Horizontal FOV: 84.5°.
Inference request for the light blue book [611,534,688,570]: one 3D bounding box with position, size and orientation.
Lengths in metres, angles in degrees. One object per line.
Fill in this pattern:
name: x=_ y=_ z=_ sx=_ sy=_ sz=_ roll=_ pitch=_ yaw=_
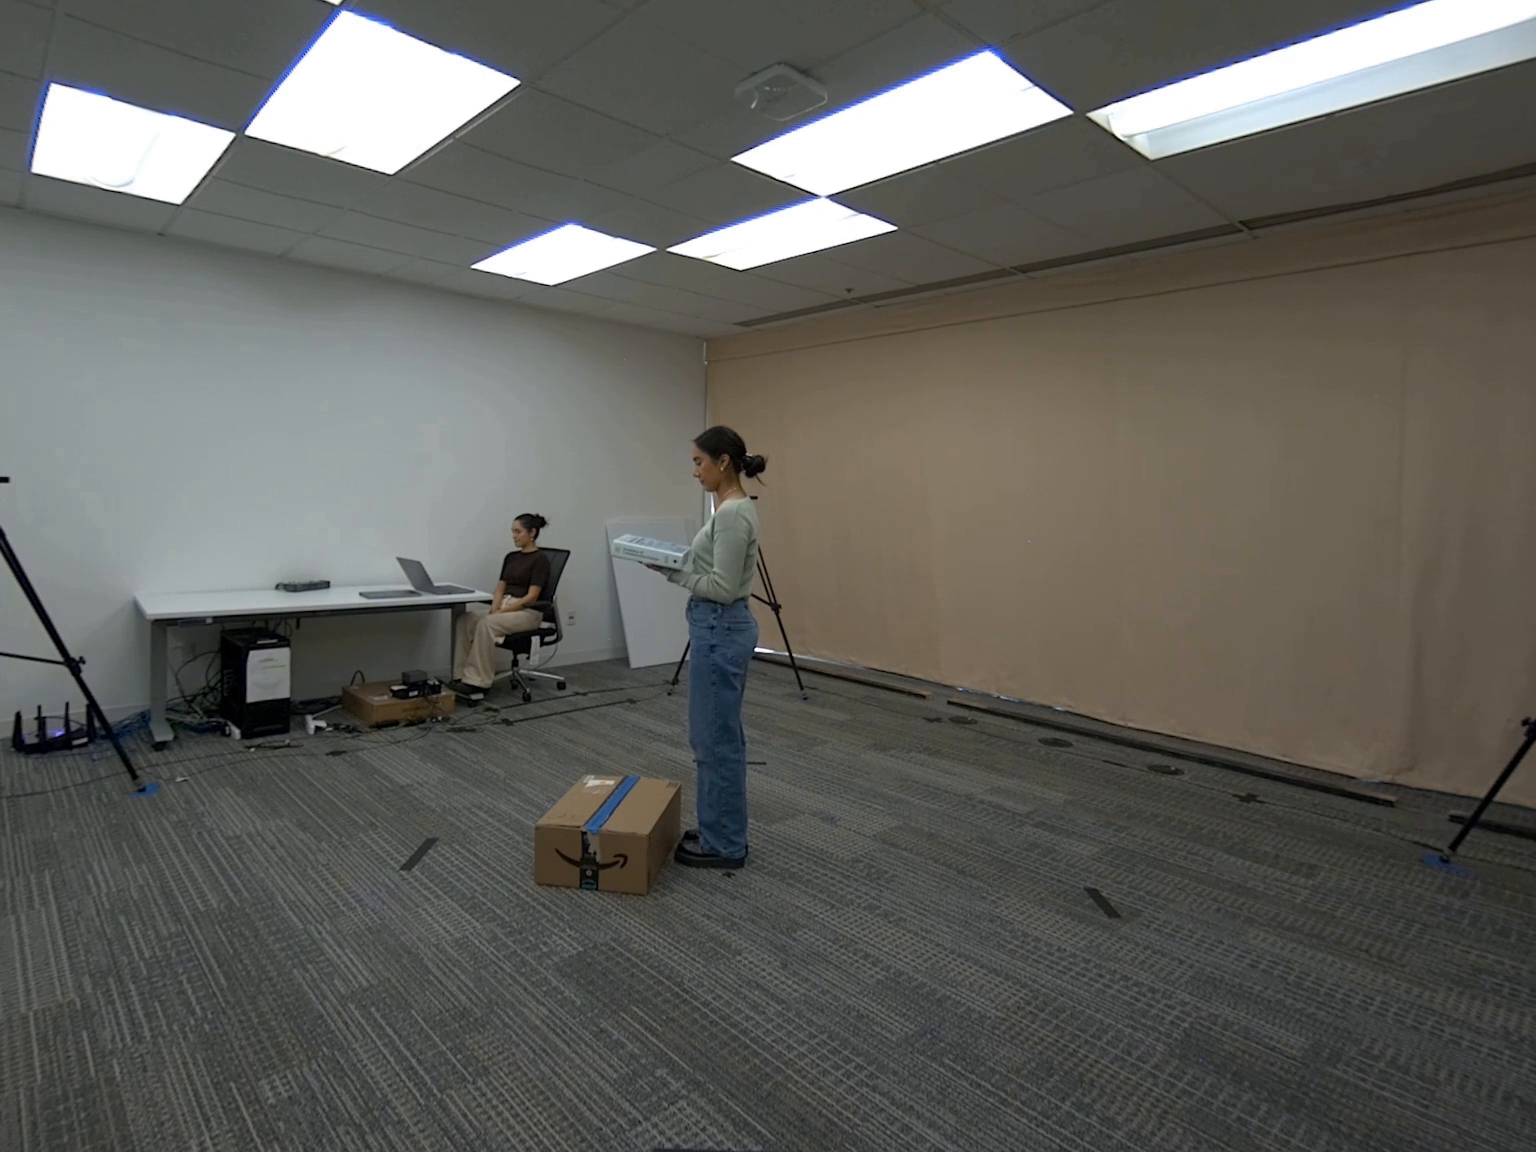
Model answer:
light blue book: x=-0.438 y=-0.085 z=3.133 sx=0.263 sy=0.058 sz=0.191 roll=12 pitch=11 yaw=8
